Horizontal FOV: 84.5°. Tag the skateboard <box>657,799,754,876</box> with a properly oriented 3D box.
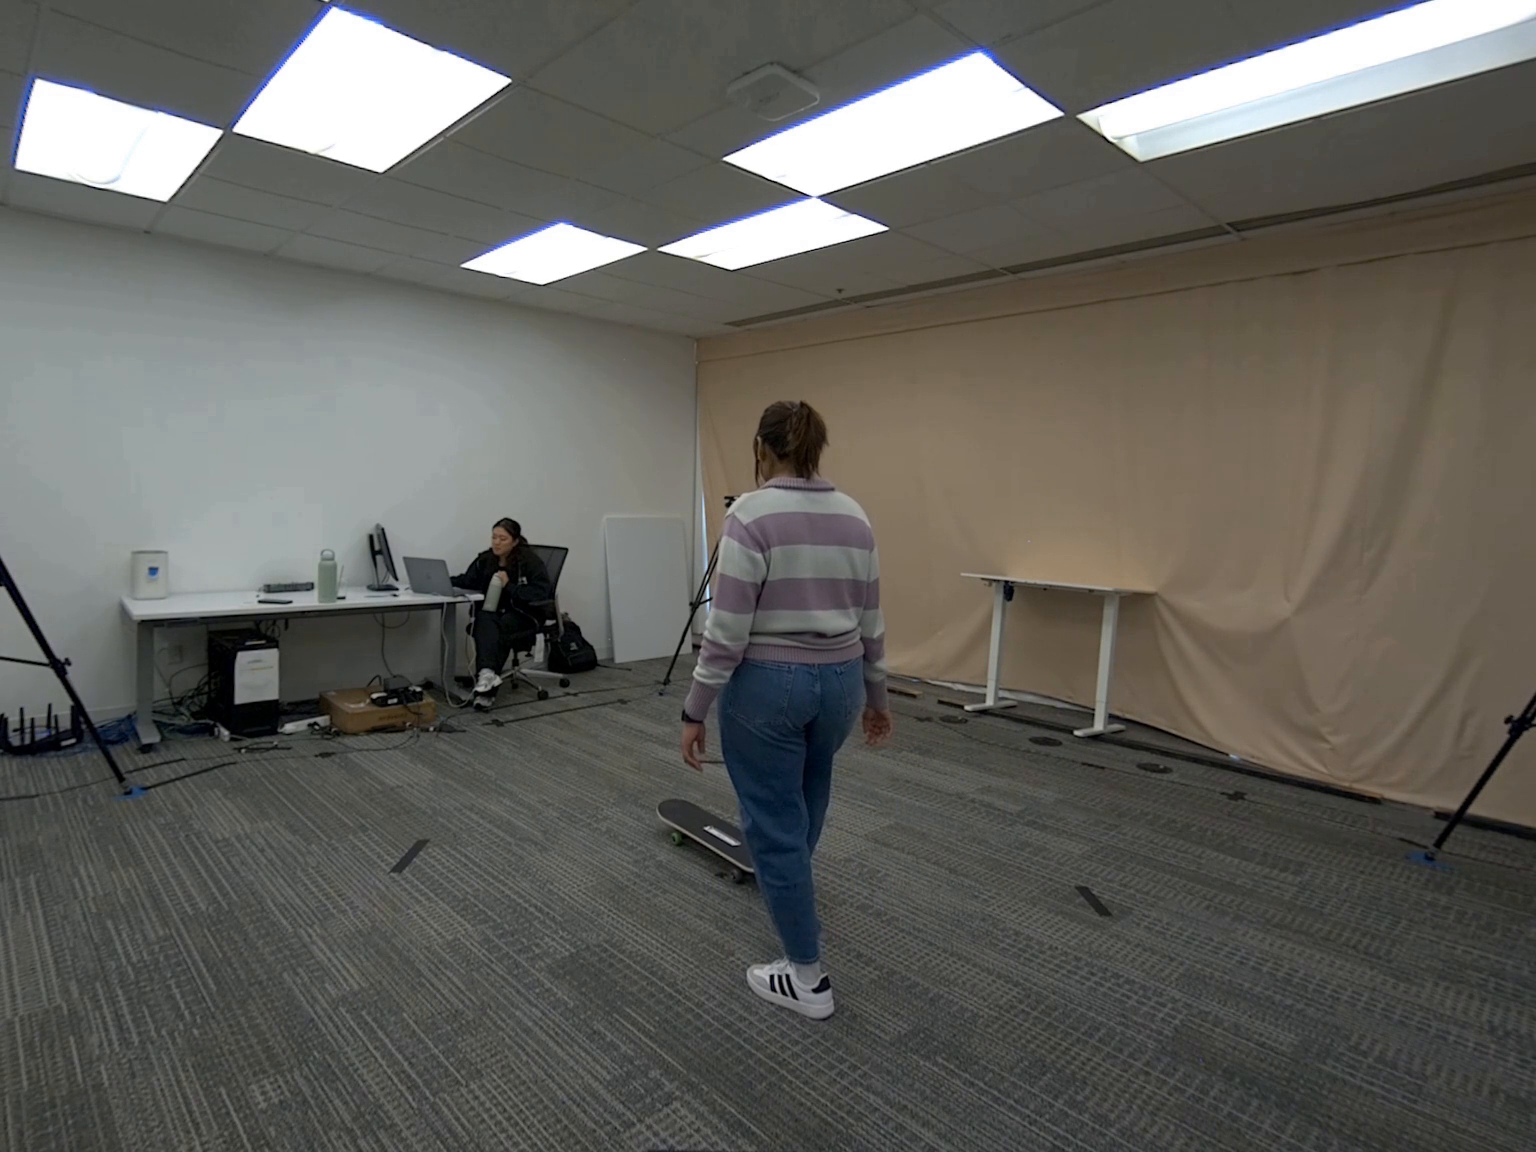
[{"bbox_3d":[-0.190,1.036,3.254,0.189,0.110,0.806,-1,6,-38],"label":"skateboard"}]
